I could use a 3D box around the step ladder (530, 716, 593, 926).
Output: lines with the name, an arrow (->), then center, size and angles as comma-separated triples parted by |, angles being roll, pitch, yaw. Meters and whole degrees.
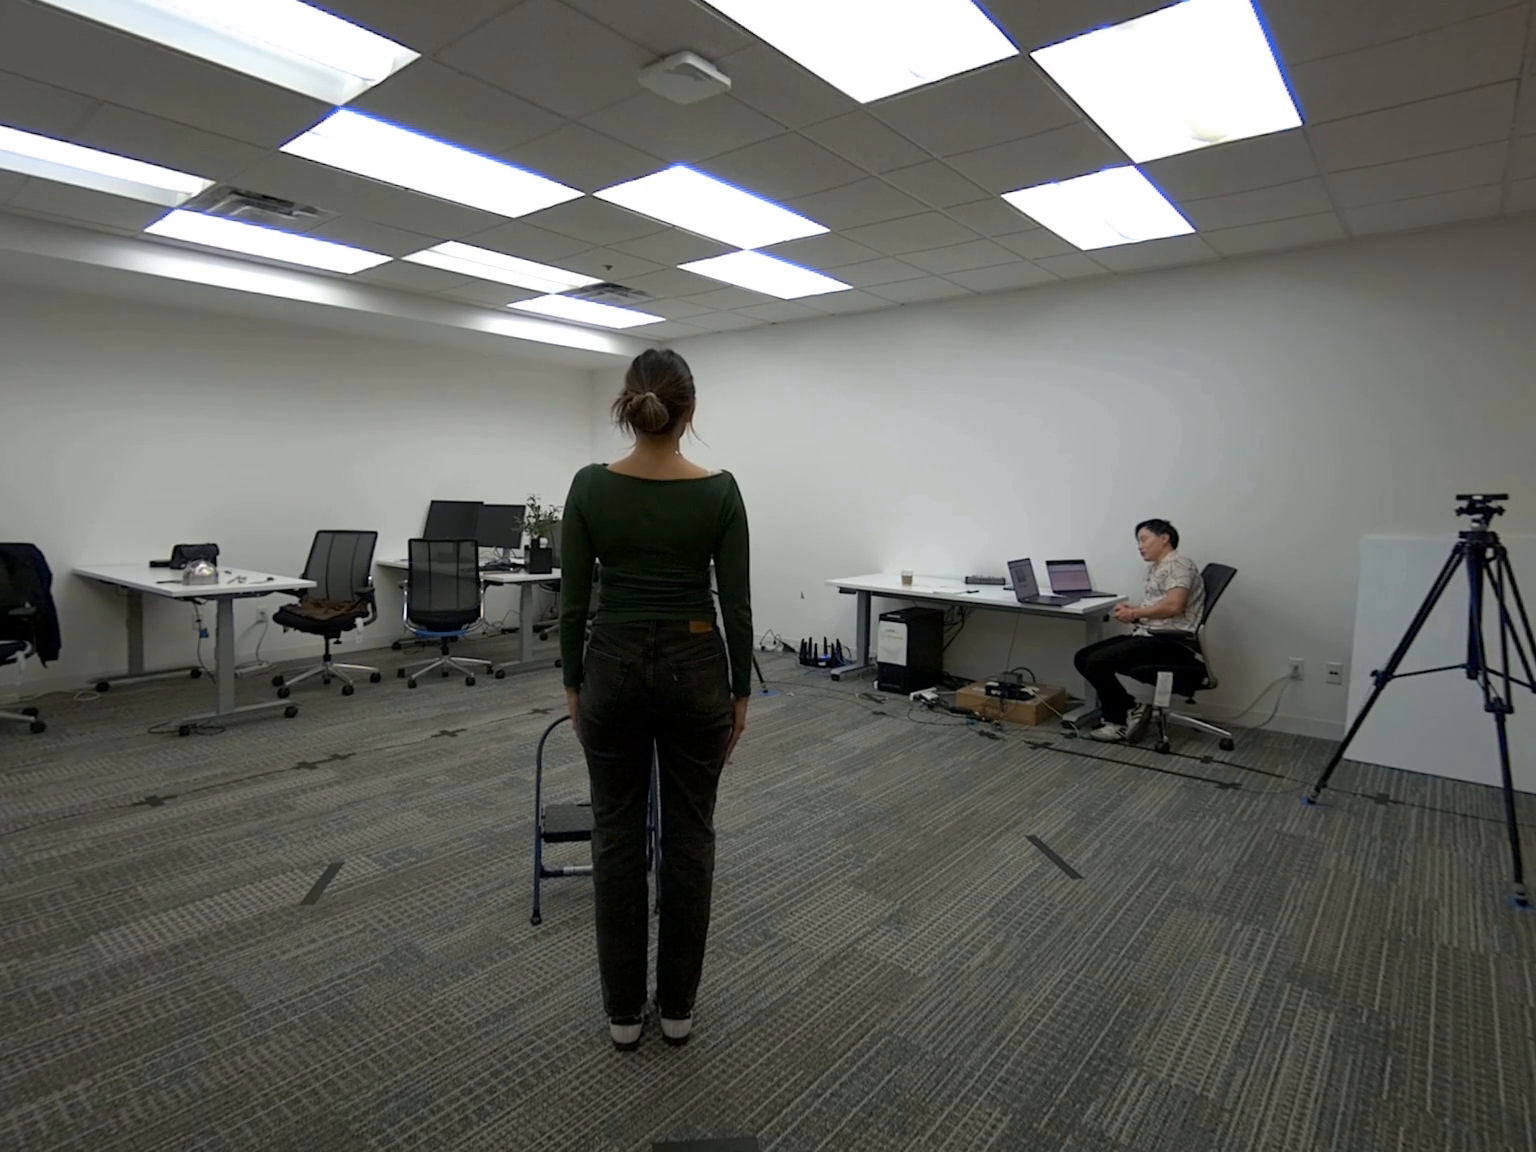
step ladder -> -0.592, 0.784, 2.890 | 0.425, 0.604, 0.355 | 0, 3, -13
